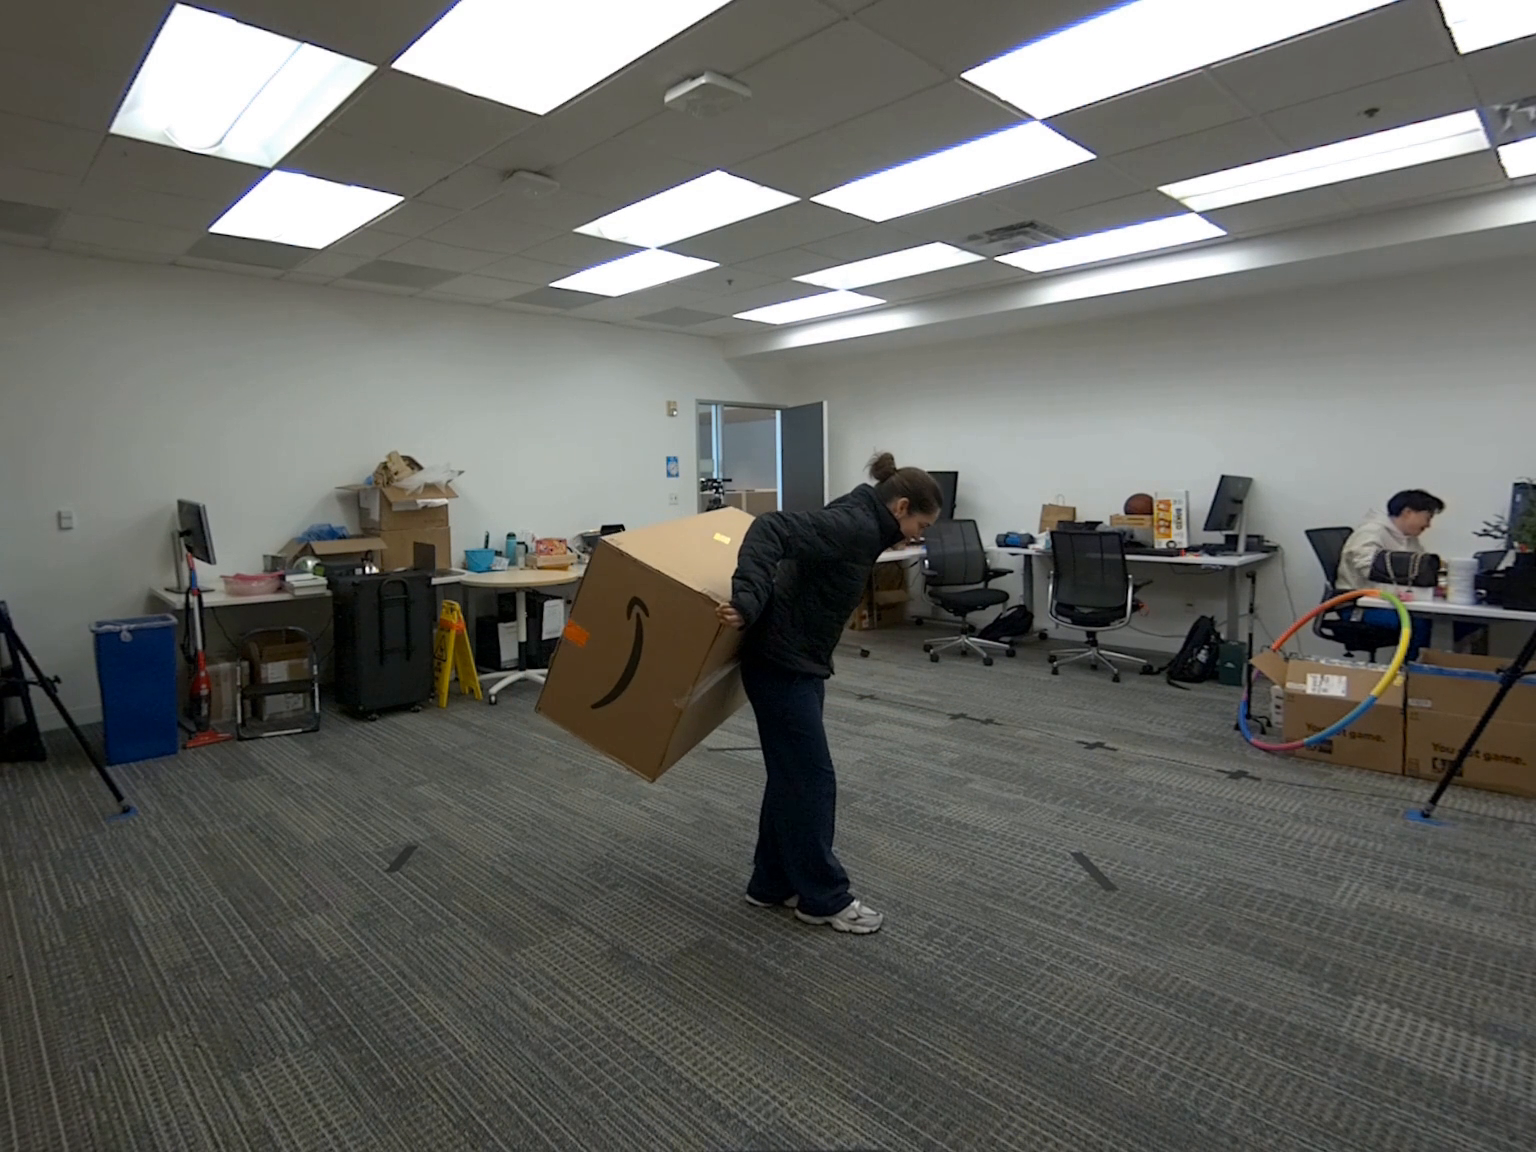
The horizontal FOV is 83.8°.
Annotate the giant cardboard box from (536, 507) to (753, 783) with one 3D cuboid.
[{"bbox_3d":[-0.241,0.157,2.861,0.435,0.573,1.013,28,17,14],"label":"giant cardboard box"}]
